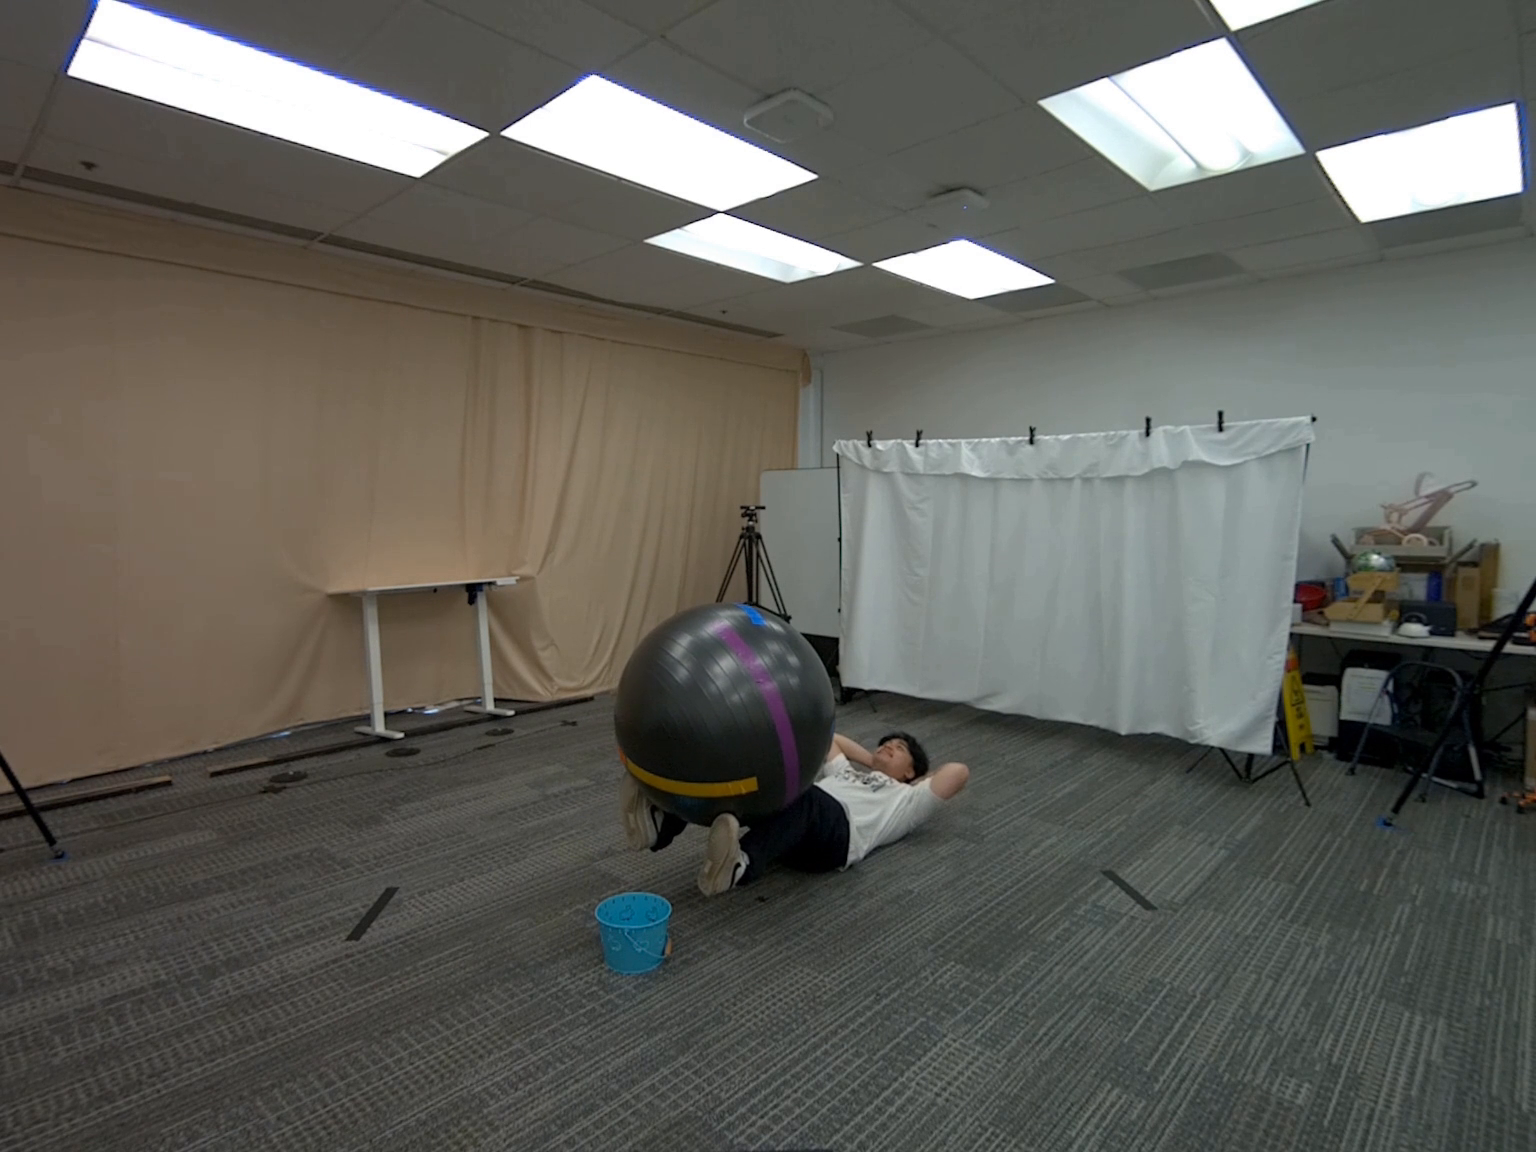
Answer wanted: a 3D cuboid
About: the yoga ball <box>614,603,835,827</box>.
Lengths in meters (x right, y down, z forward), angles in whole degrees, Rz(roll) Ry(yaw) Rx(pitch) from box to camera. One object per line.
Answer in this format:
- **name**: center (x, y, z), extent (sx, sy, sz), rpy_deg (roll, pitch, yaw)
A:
- **yoga ball**: center (-0.151, 0.470, 2.905), extent (0.757, 0.756, 0.760), rpy_deg (0, 4, -2)
